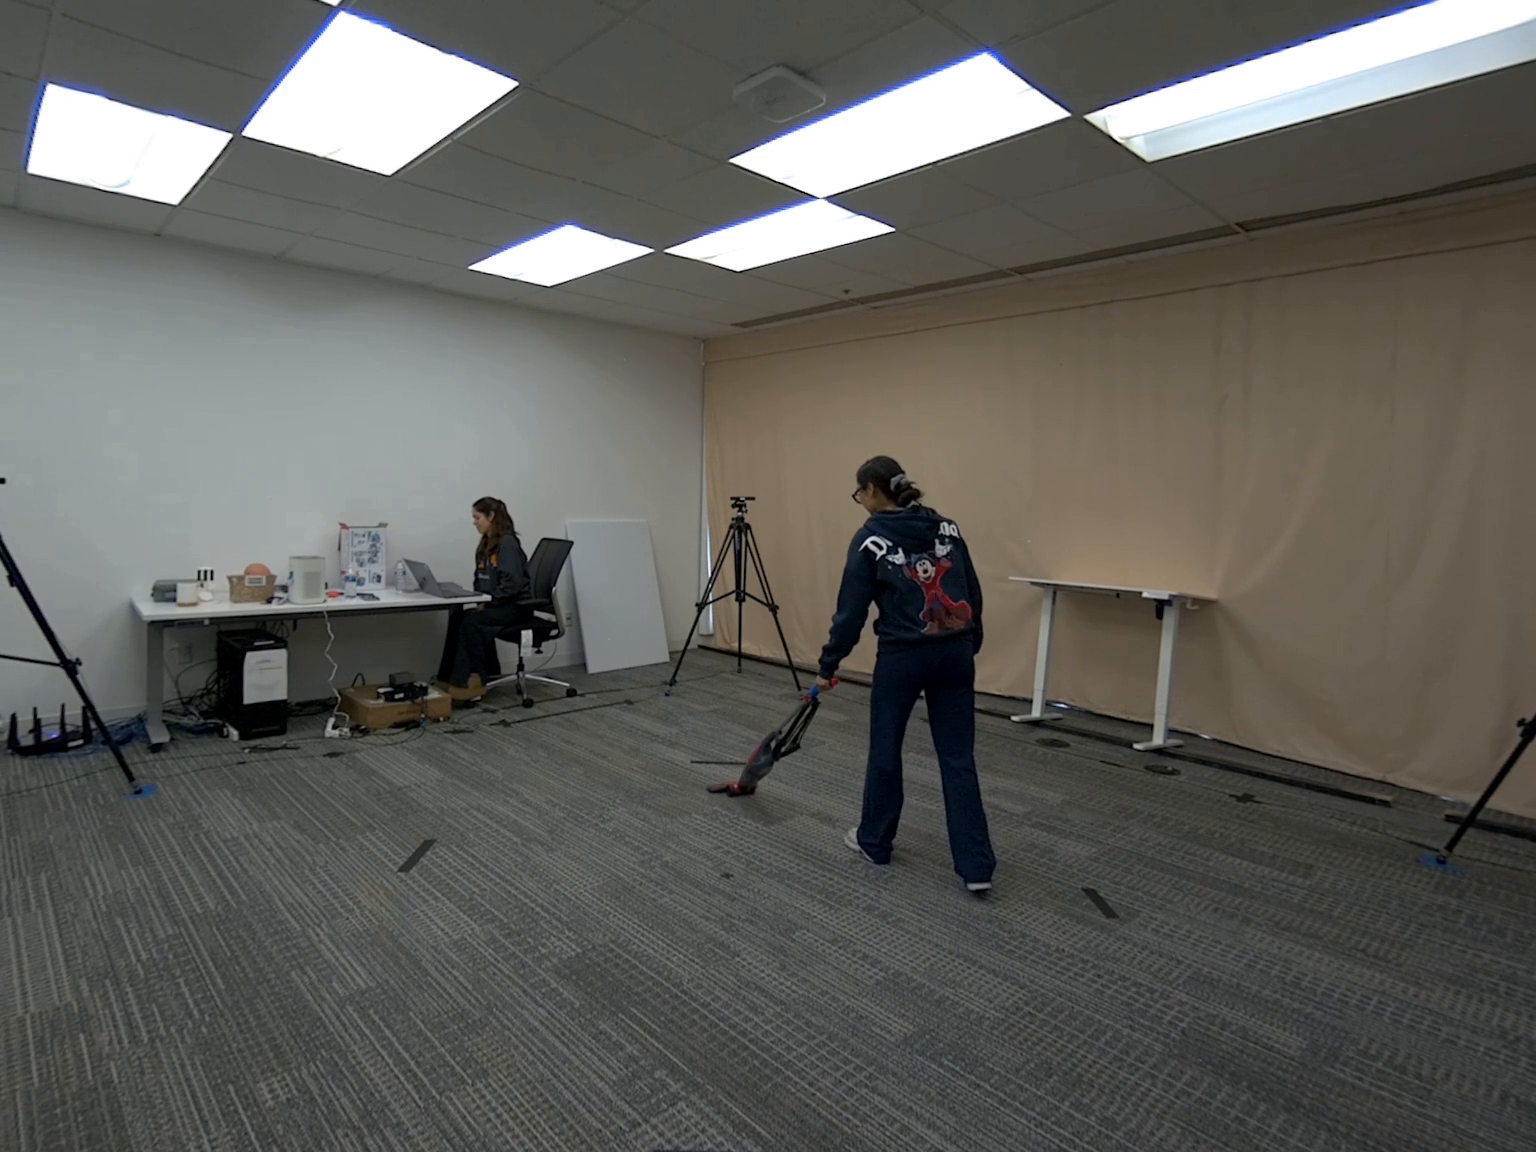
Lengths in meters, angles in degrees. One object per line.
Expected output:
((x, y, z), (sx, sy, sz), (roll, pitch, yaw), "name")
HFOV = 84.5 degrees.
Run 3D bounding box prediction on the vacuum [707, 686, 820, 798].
((0.041, 0.719, 3.646), (0.248, 0.147, 1.043), (-3, -33, -31), "vacuum")
